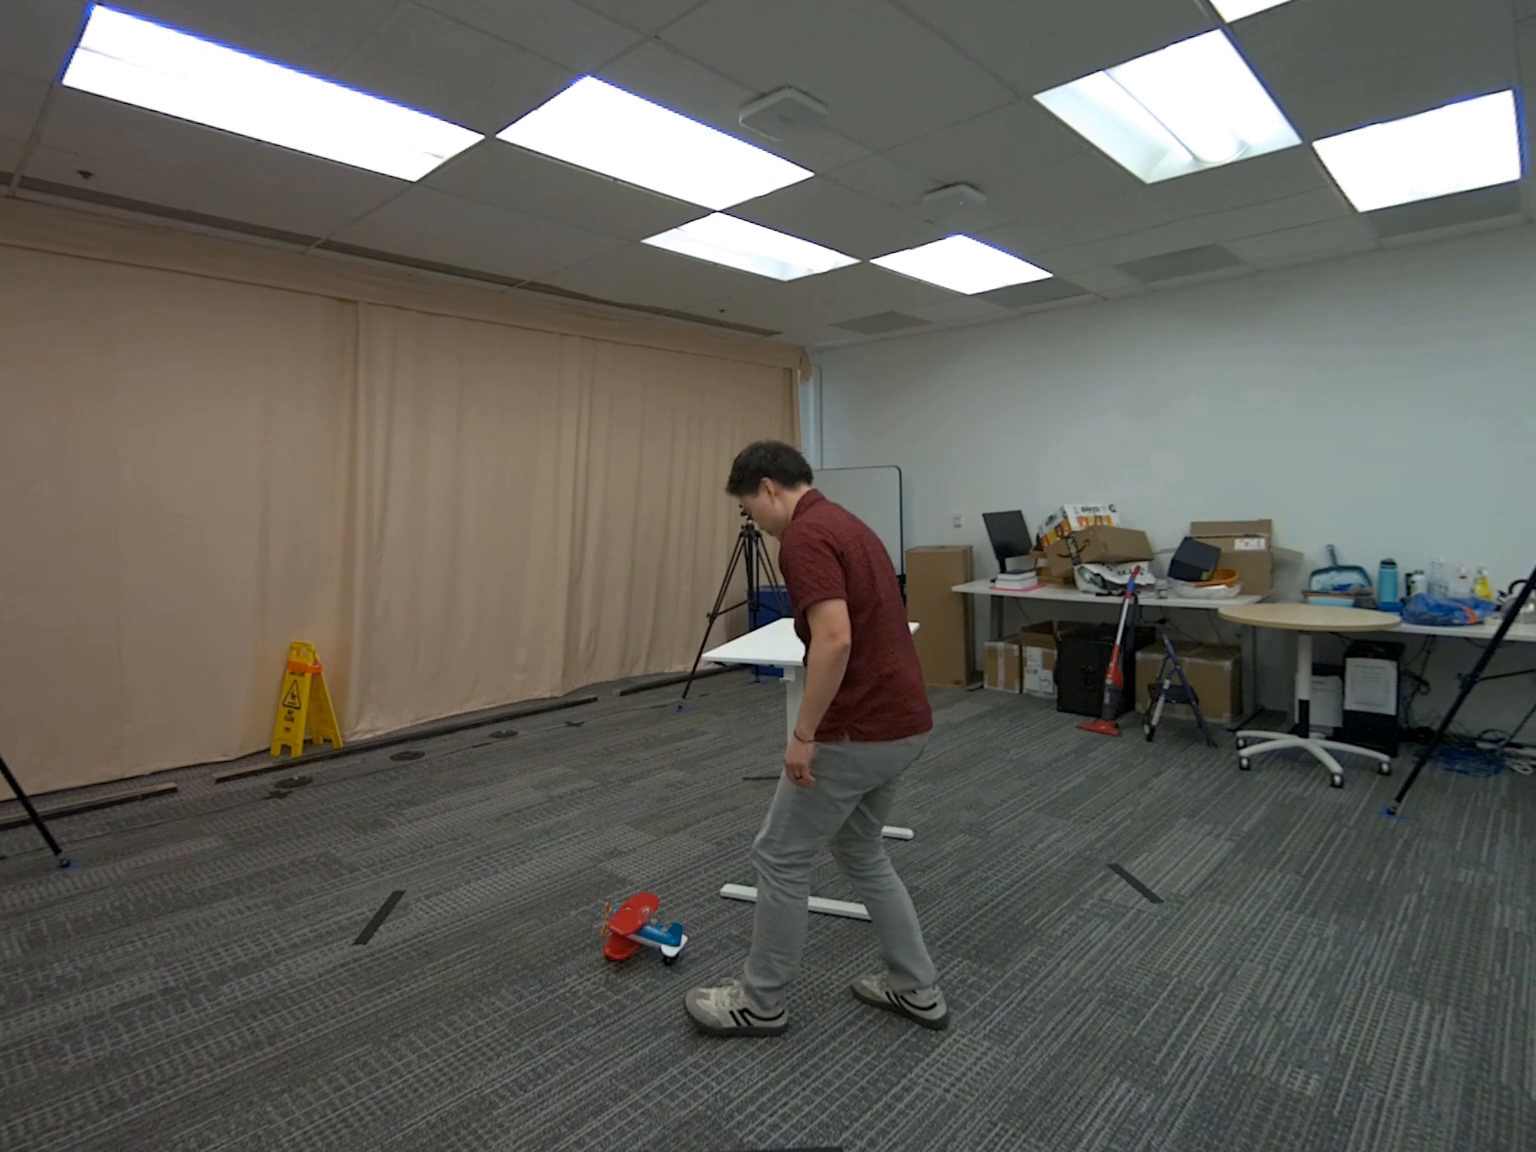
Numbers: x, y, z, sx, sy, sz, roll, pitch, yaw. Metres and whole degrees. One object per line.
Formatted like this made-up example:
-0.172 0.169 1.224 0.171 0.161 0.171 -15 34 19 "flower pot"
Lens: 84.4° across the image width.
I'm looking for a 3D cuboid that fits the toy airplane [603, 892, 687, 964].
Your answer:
-0.376 1.109 2.622 0.257 0.156 0.254 -2 3 -10 "toy airplane"
